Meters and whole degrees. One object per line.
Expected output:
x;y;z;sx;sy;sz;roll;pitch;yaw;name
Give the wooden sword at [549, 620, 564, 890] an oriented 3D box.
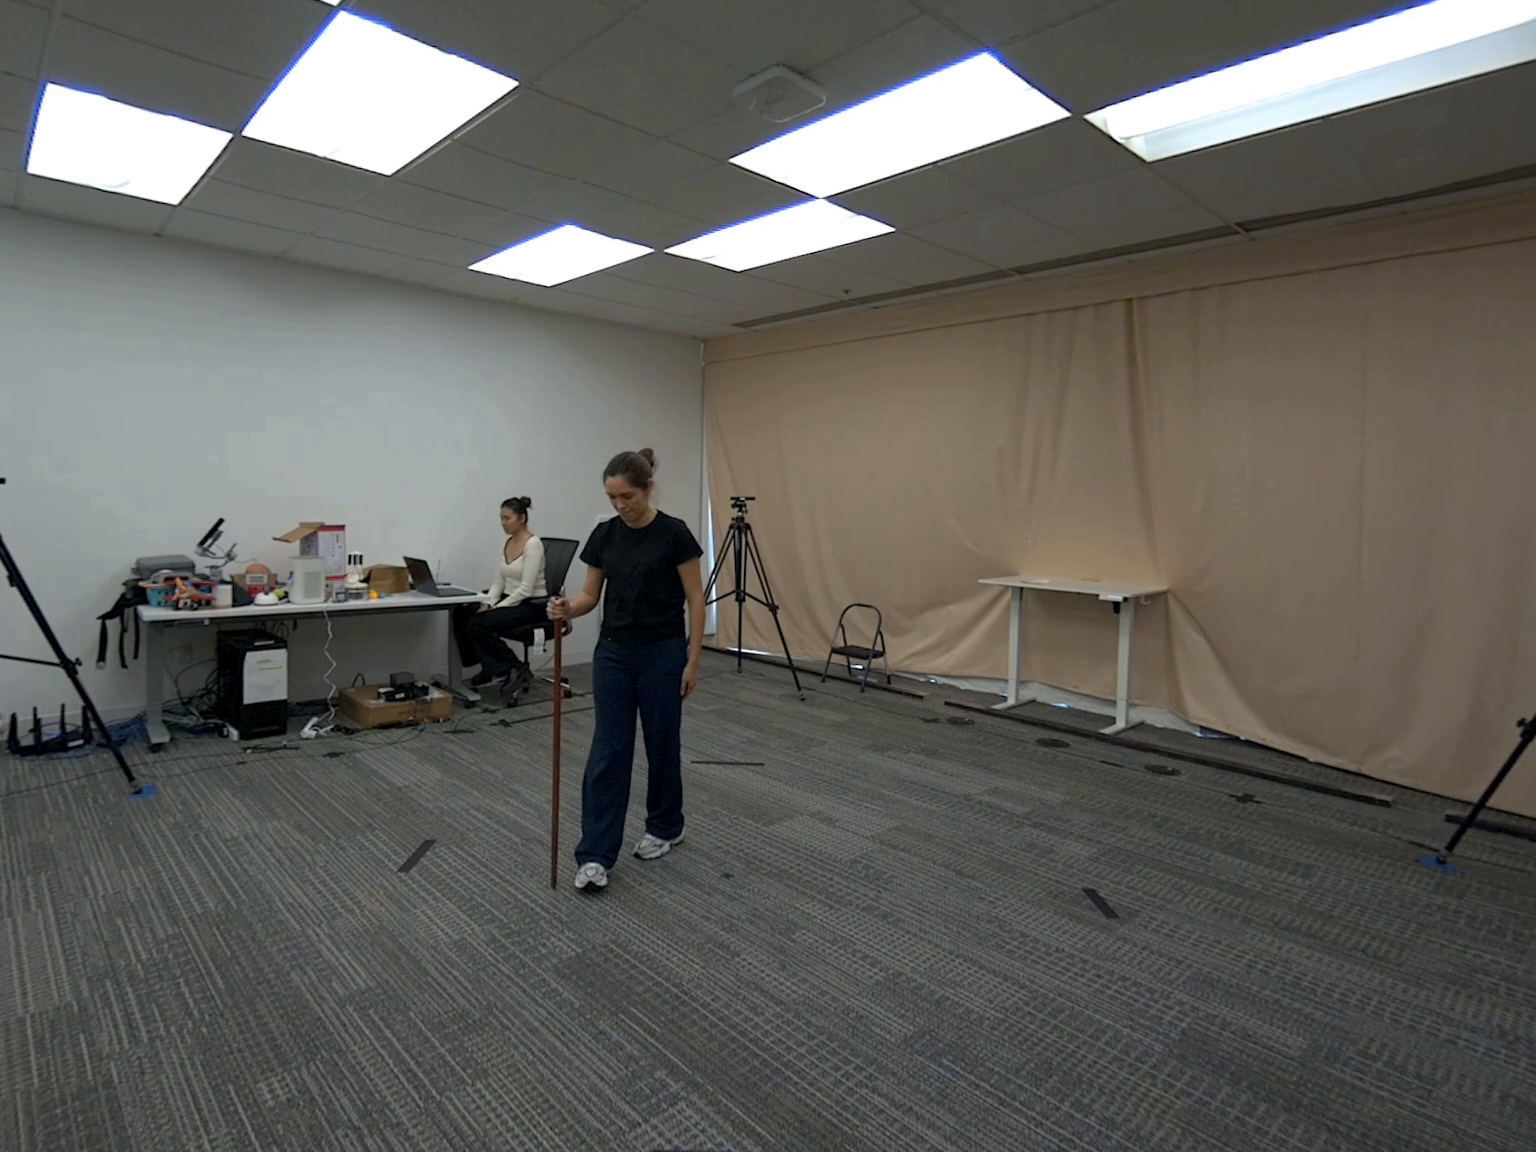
-0.748;0.590;2.960;0.023;1.024;0.052;0;1;-37;wooden sword
